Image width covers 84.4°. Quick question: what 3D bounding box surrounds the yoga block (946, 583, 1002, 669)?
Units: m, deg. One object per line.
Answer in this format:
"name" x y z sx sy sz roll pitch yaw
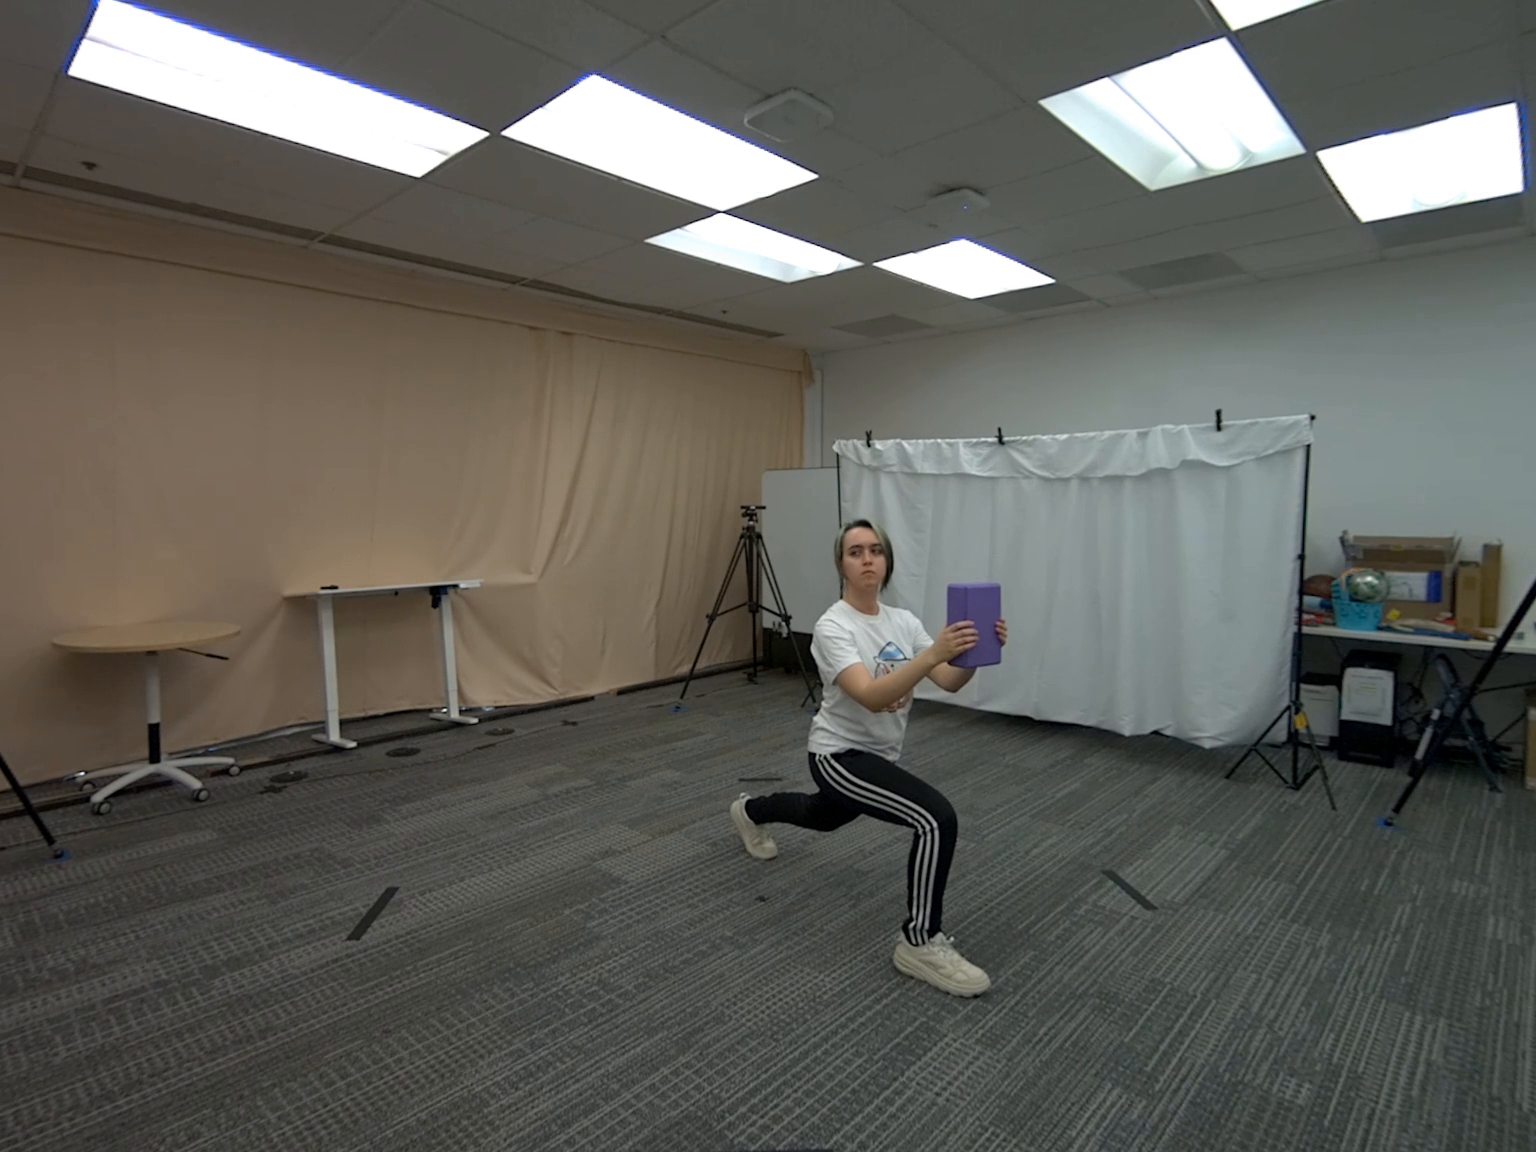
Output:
"yoga block" 0.578 0.137 2.357 0.145 0.229 0.078 -2 1 -29
